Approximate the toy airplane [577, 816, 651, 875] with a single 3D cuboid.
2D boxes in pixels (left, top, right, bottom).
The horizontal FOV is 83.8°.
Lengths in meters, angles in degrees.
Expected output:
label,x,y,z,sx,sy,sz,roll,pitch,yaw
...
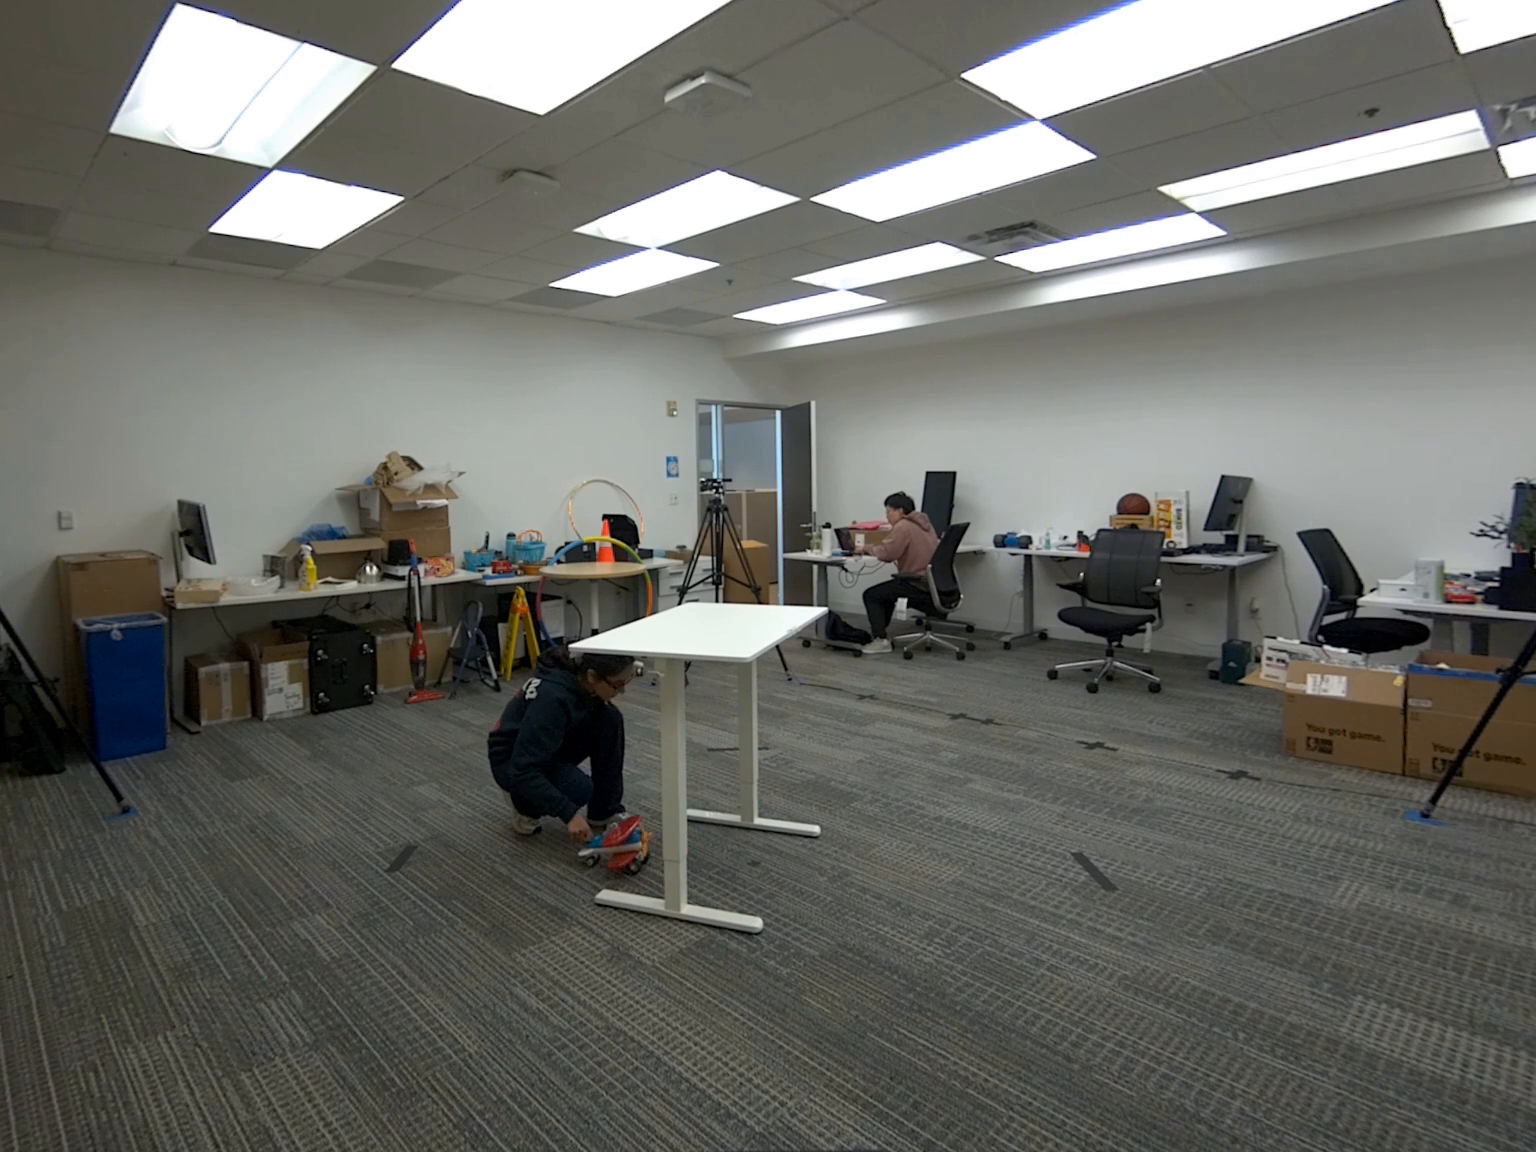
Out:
label,x,y,z,sx,sy,sz,roll,pitch,yaw
toy airplane,-0.549,0.981,3.065,0.256,0.156,0.255,-2,4,-14
